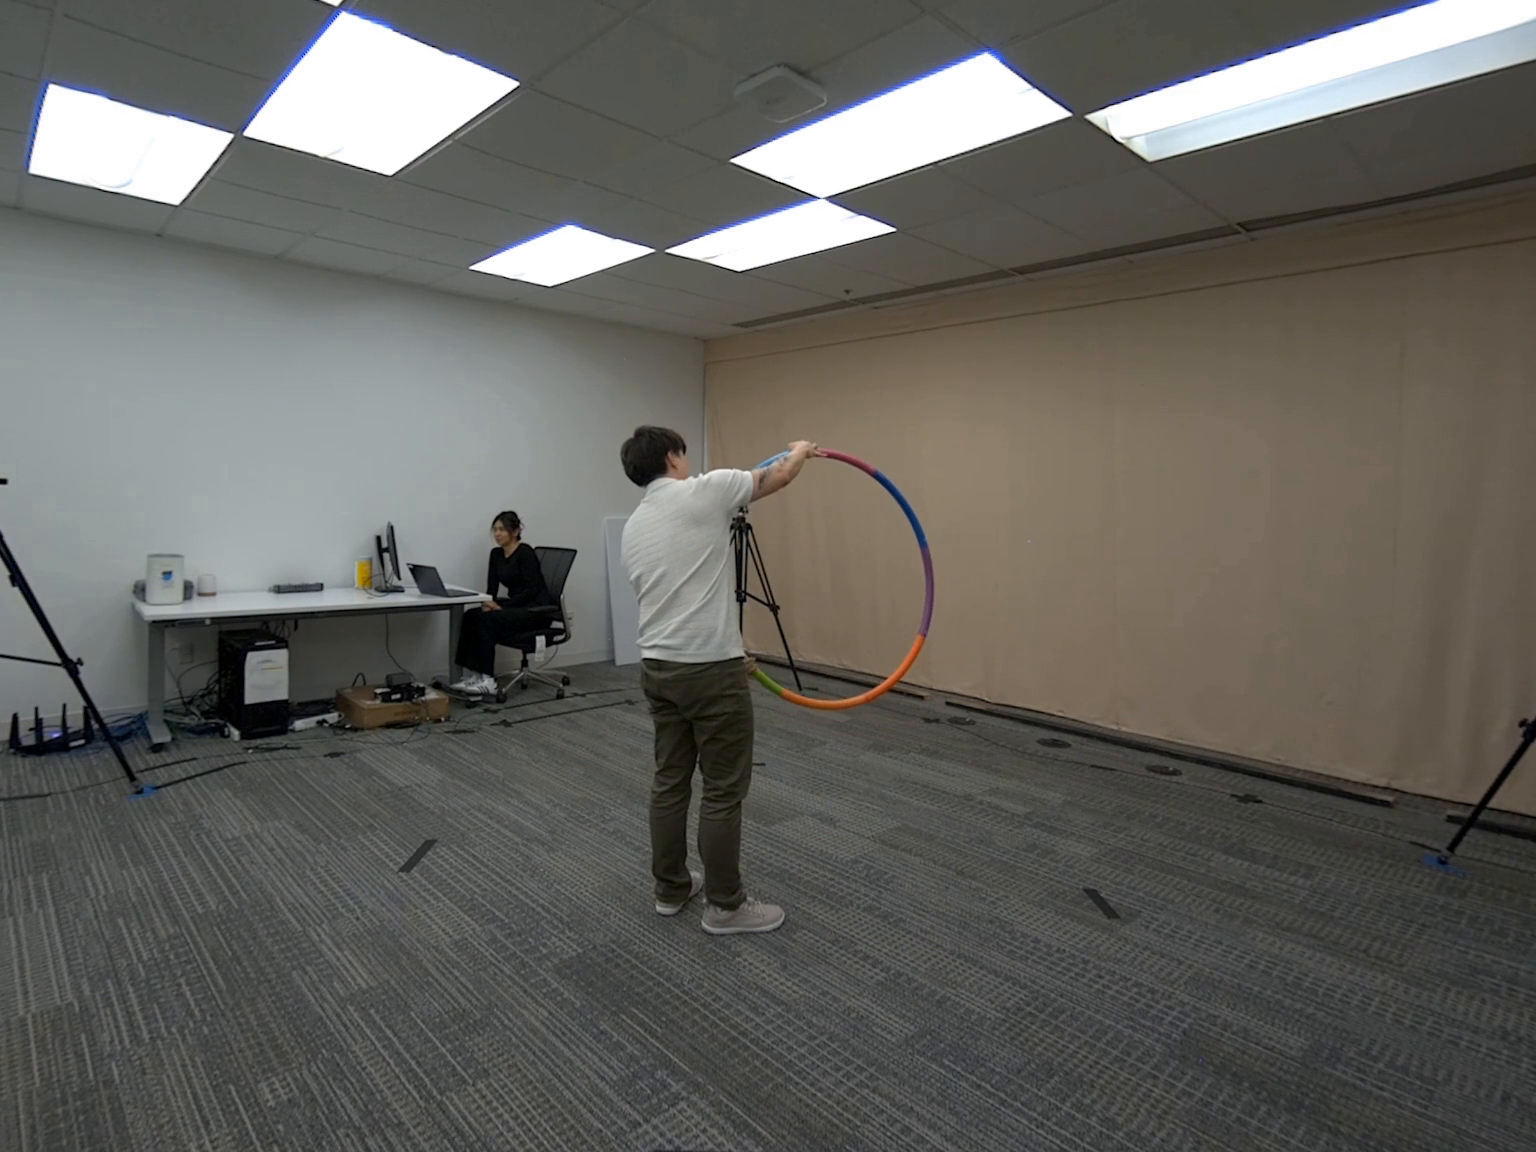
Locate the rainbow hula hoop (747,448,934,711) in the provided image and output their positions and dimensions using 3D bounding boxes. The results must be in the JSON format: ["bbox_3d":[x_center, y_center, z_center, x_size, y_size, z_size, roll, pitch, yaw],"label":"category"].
[{"bbox_3d":[0.221,0.006,3.166,0.960,0.983,0.036,-1,-7,-27],"label":"rainbow hula hoop"}]
